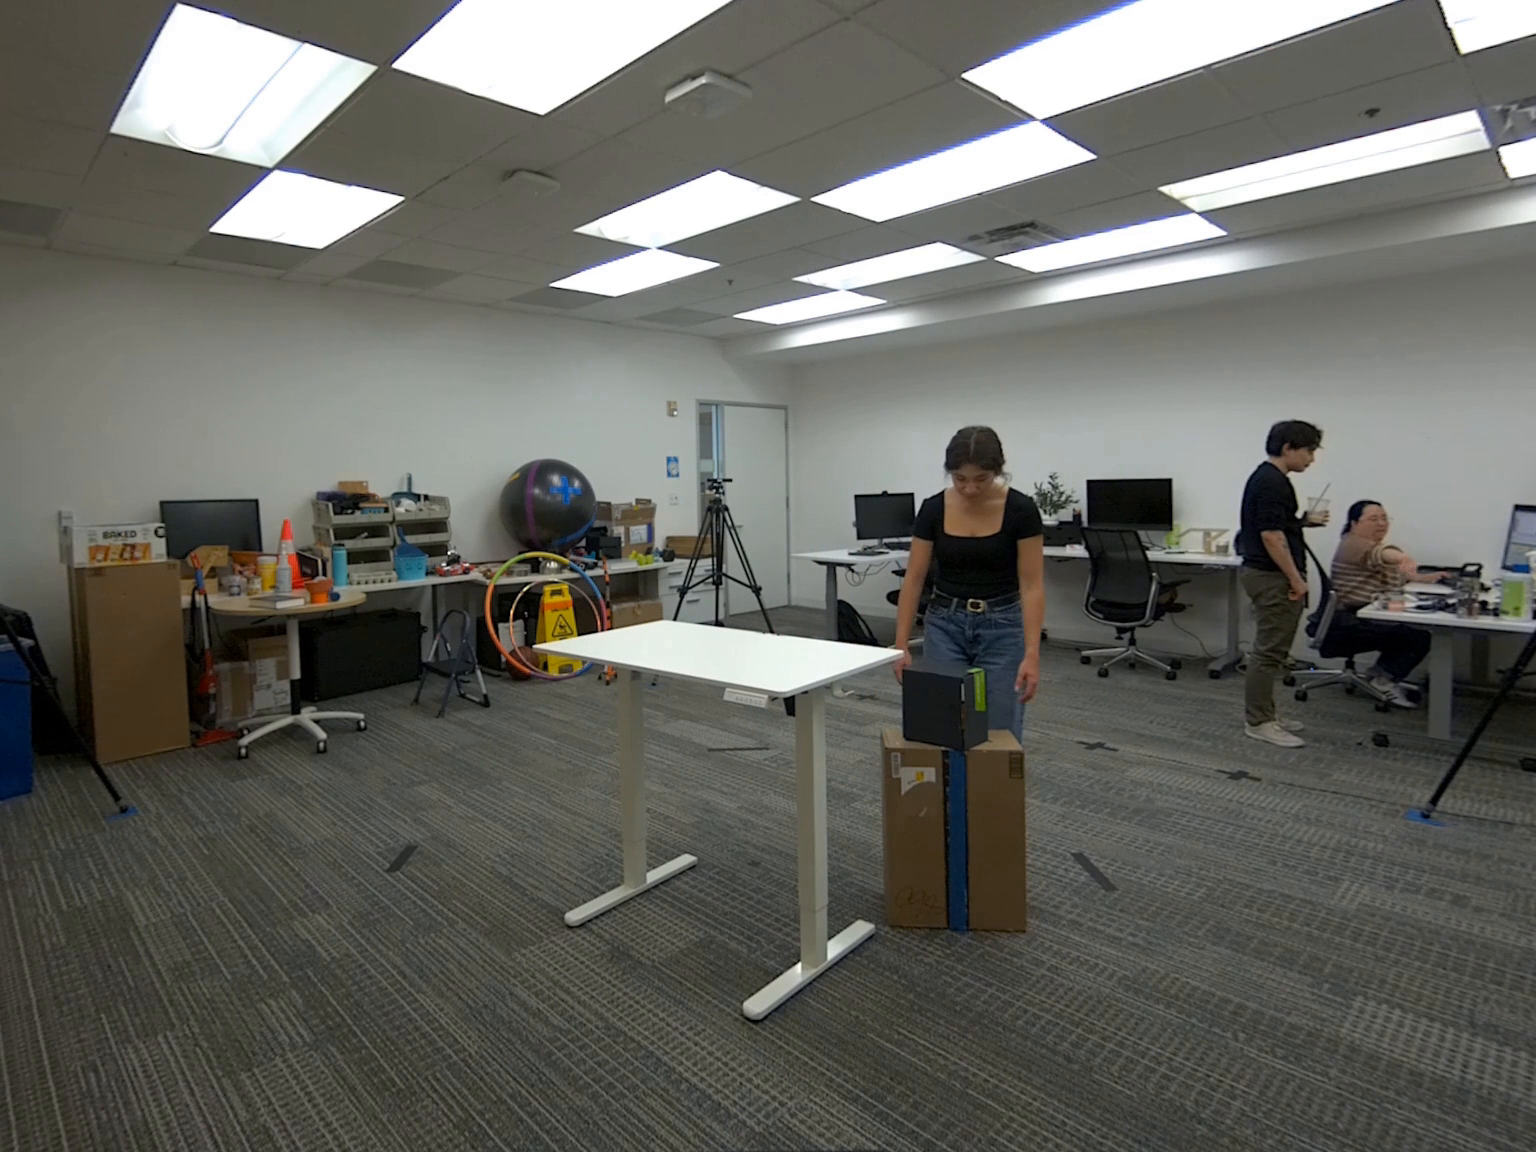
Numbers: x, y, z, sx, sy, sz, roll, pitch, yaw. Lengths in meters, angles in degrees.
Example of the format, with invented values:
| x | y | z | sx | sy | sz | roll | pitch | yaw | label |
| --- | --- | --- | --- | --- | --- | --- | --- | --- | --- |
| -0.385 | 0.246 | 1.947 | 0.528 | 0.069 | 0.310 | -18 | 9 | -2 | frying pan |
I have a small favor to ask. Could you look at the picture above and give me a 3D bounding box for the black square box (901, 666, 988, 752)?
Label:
| x | y | z | sx | sy | sz | roll | pitch | yaw | label |
| --- | --- | --- | --- | --- | --- | --- | --- | --- | --- |
| 0.554 | 0.400 | 2.684 | 0.152 | 0.227 | 0.223 | -5 | 6 | -42 | black square box |
